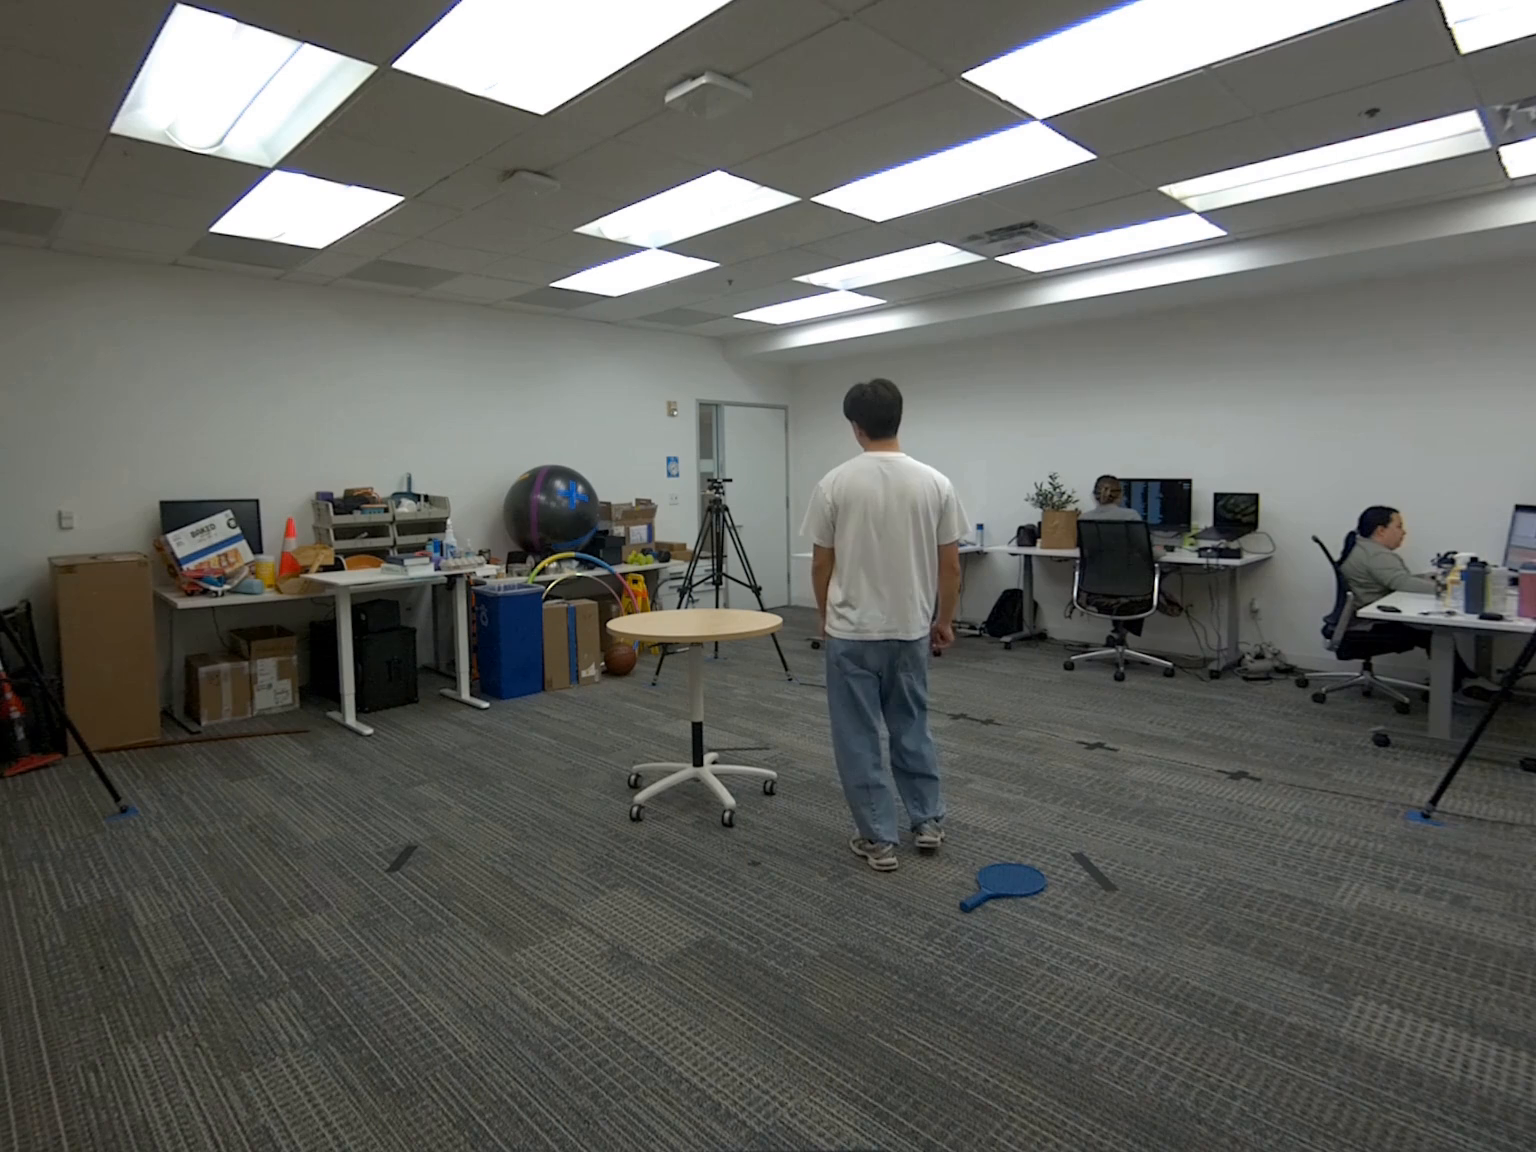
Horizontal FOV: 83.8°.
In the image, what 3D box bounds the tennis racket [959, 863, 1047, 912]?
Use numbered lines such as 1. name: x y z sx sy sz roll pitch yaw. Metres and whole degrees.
1. tennis racket: 0.773 1.041 2.880 0.421 0.031 0.220 -5 7 -42
